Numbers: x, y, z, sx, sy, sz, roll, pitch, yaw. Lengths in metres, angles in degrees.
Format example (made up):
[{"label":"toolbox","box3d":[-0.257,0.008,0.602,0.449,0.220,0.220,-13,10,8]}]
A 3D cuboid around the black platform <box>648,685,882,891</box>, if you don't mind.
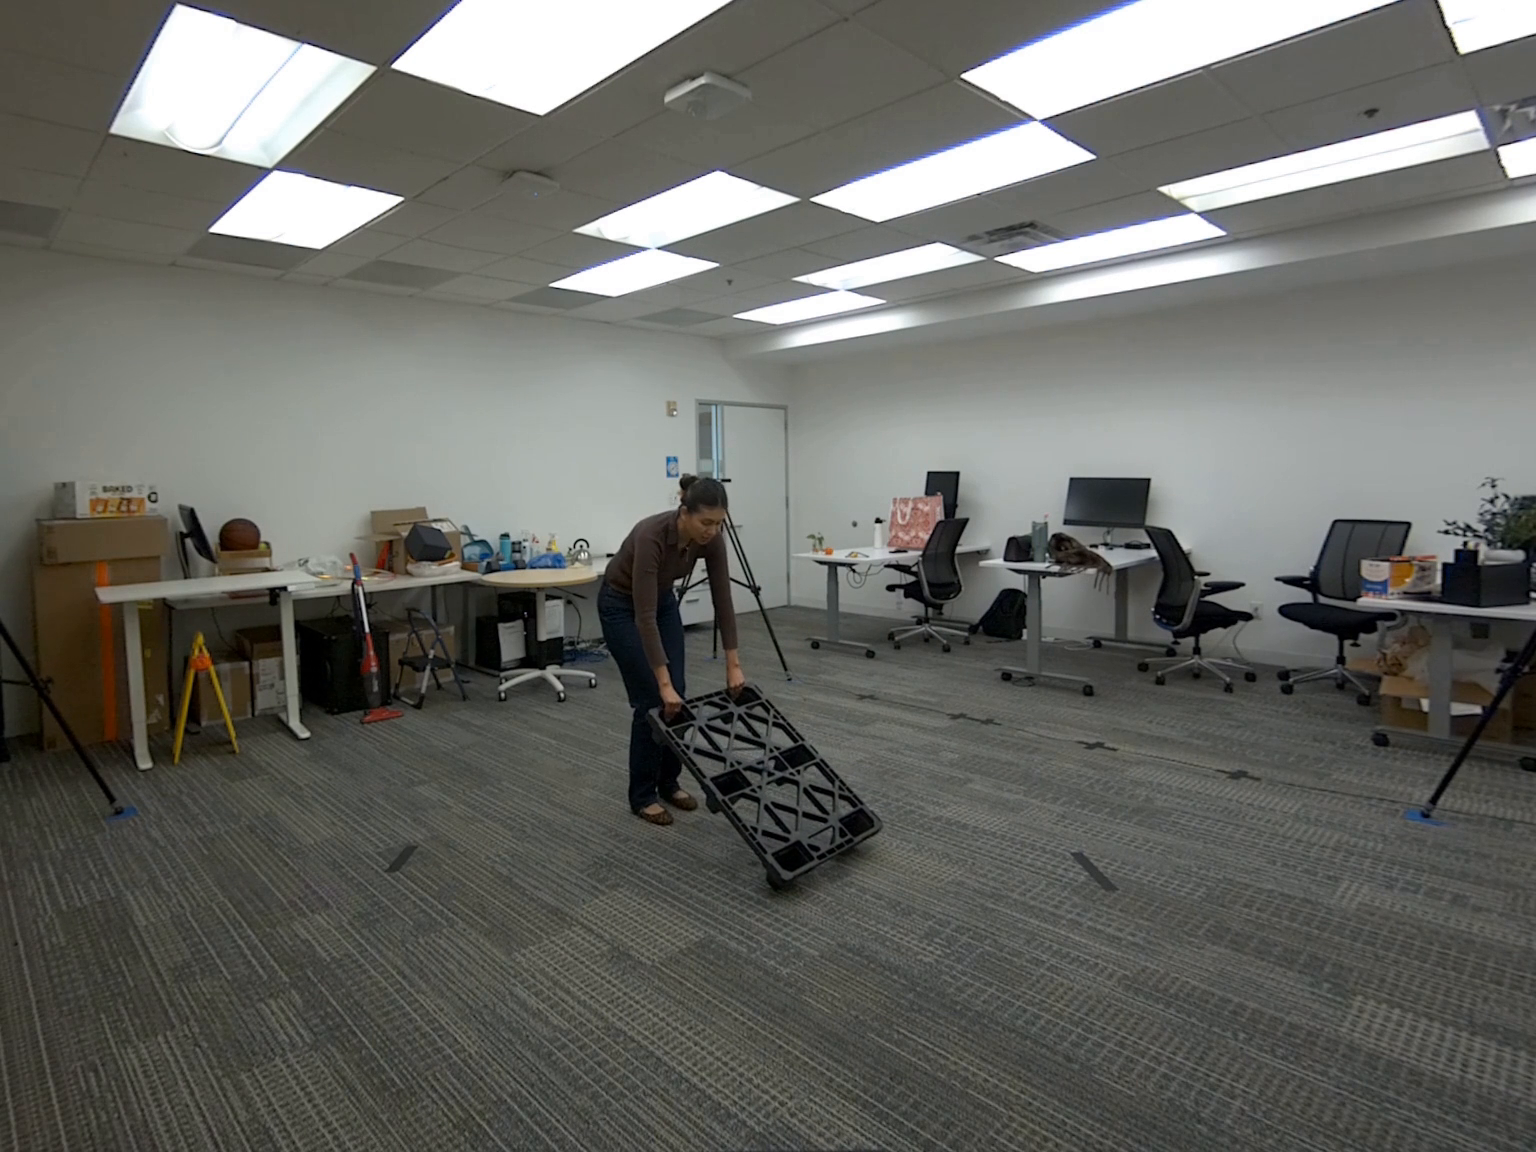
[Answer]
[{"label":"black platform","box3d":[-0.031,0.766,3.237,0.589,0.142,0.835,-5,41,-48]}]
